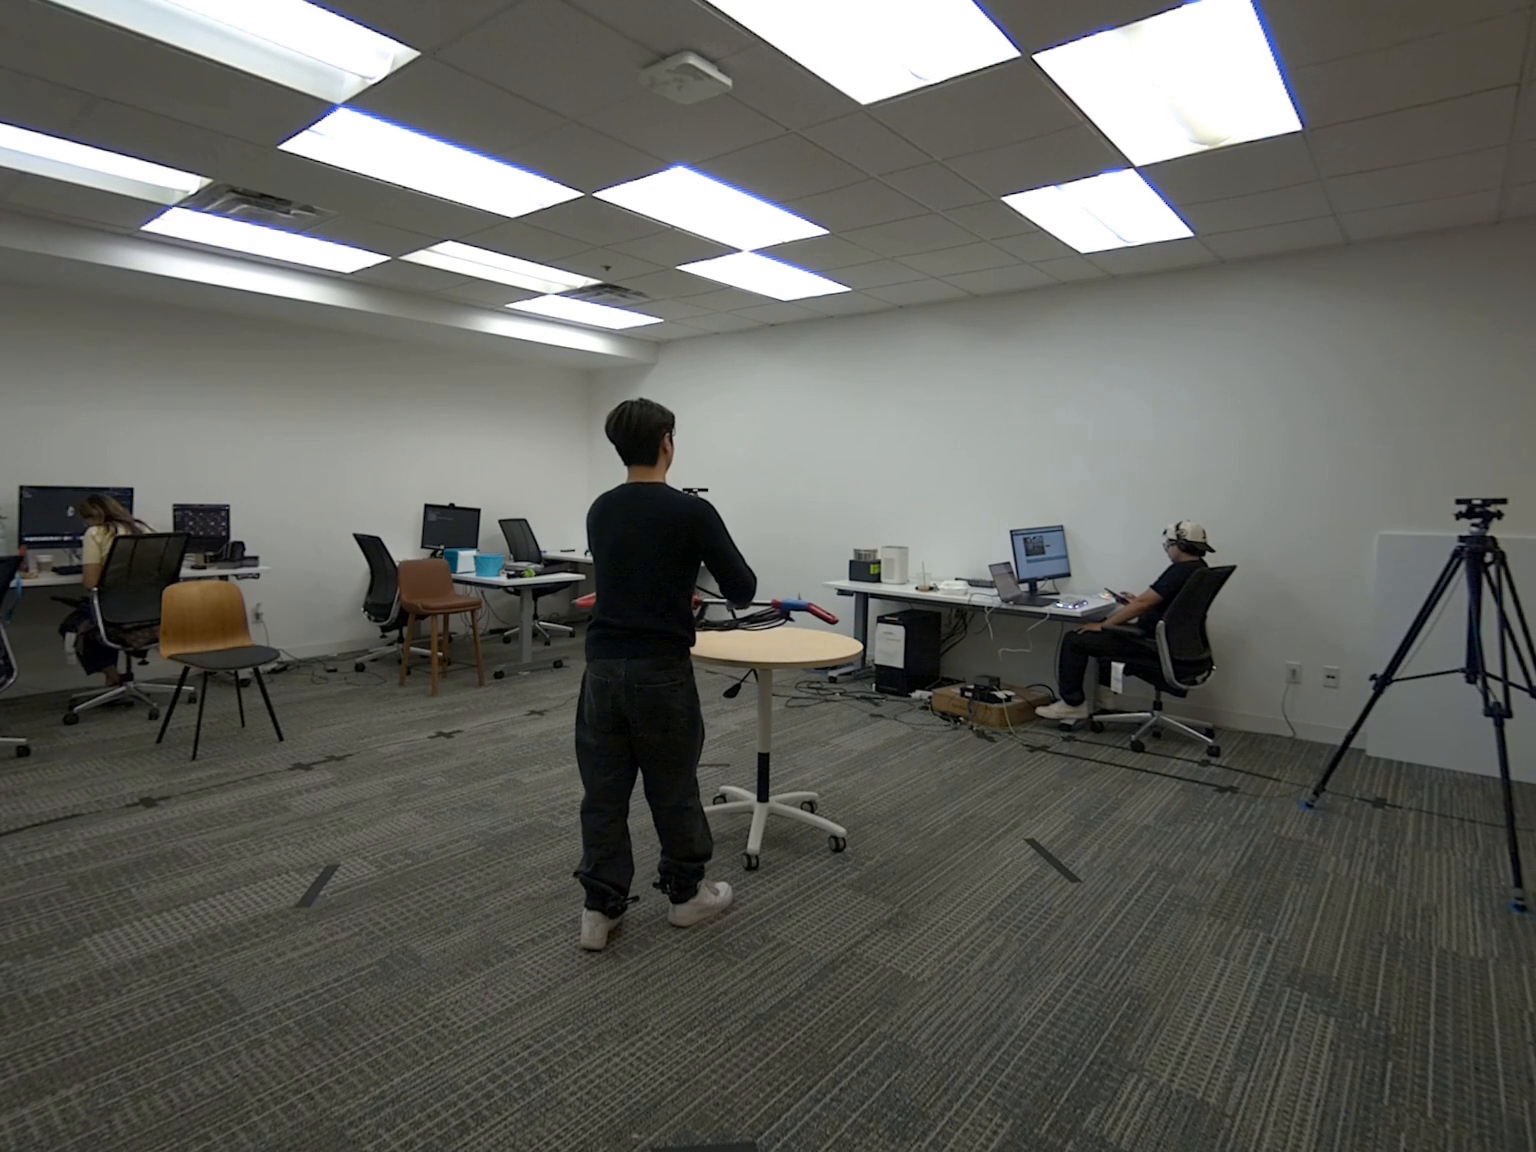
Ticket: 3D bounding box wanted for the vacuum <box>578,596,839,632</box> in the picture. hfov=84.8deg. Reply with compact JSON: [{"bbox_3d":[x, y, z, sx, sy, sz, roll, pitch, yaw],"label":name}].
[{"bbox_3d":[-0.230,0.137,3.044,1.082,0.142,0.248,1,14,36],"label":"vacuum"}]
